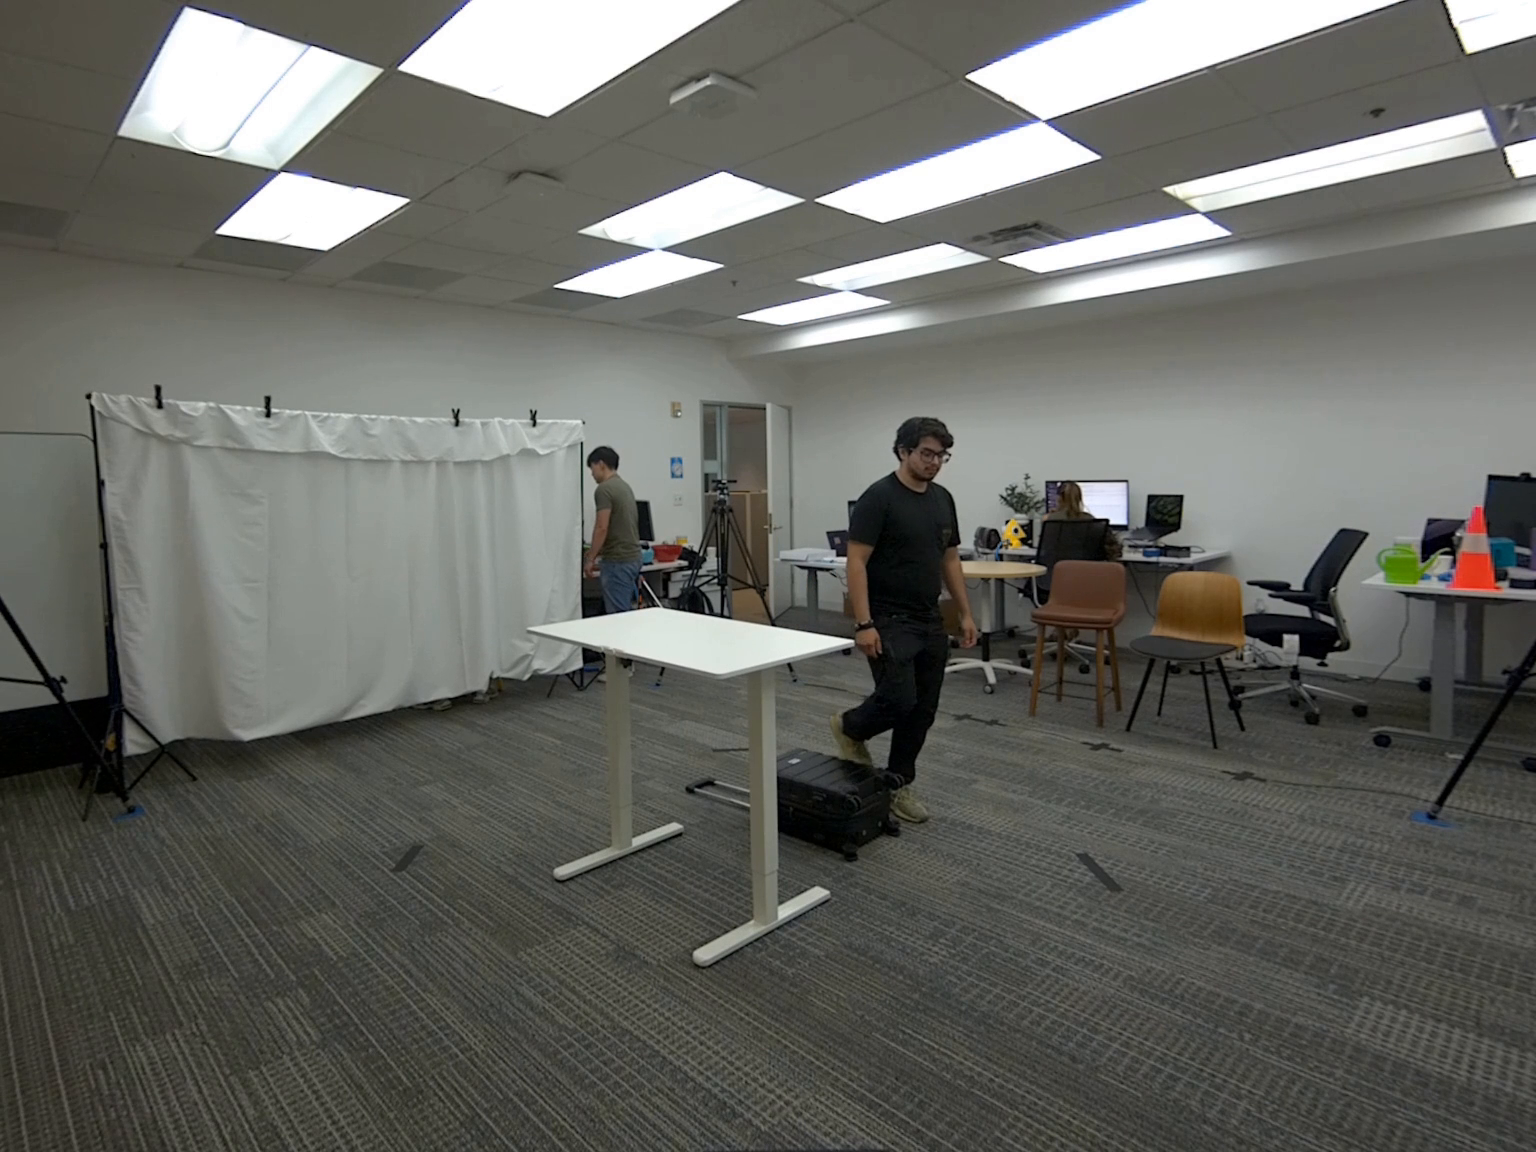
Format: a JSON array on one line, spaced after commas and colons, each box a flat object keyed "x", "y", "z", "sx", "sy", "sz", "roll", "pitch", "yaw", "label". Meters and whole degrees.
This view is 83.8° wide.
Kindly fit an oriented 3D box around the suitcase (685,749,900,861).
[{"x": 0.058, "y": 0.872, "z": 3.560, "sx": 1.009, "sy": 0.255, "sz": 0.374, "roll": 6, "pitch": 10, "yaw": 41, "label": "suitcase"}]
